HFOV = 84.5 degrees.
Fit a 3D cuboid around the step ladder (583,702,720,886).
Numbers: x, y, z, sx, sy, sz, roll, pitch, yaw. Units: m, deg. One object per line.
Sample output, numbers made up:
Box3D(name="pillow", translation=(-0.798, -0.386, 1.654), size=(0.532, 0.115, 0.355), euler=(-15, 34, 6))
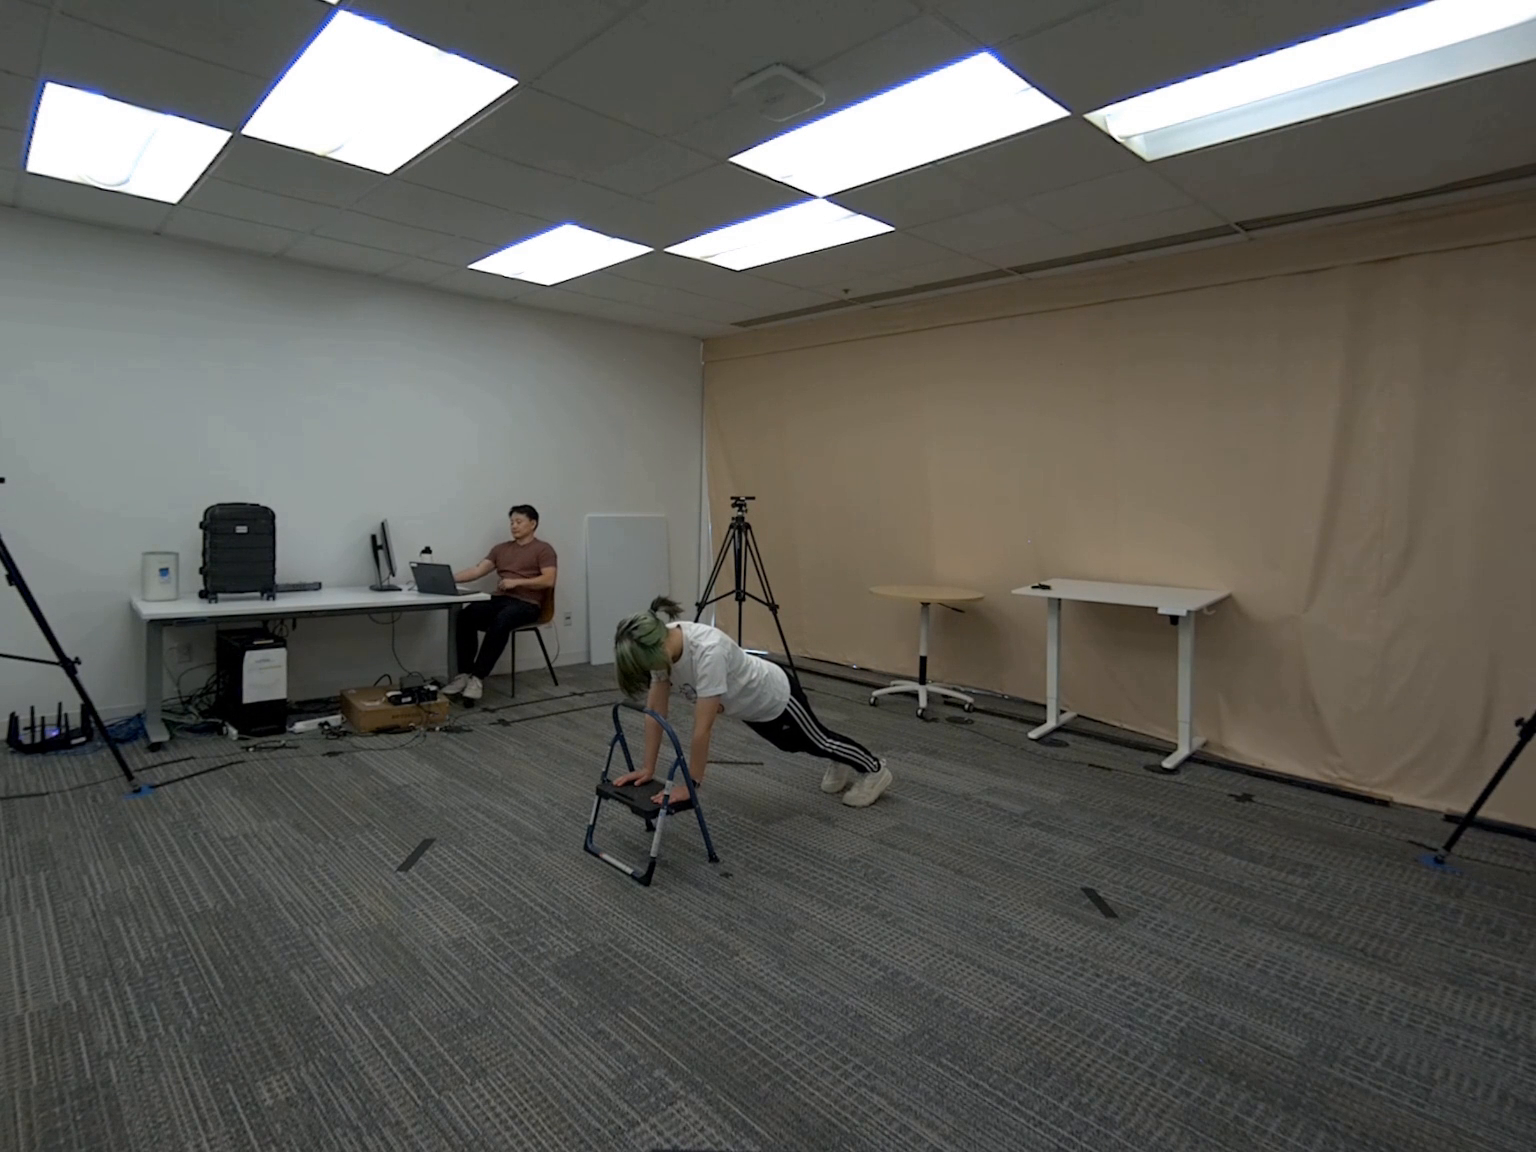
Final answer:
Box3D(name="step ladder", translation=(-0.458, 0.783, 3.241), size=(0.341, 0.605, 0.441), euler=(-2, 5, -44))
